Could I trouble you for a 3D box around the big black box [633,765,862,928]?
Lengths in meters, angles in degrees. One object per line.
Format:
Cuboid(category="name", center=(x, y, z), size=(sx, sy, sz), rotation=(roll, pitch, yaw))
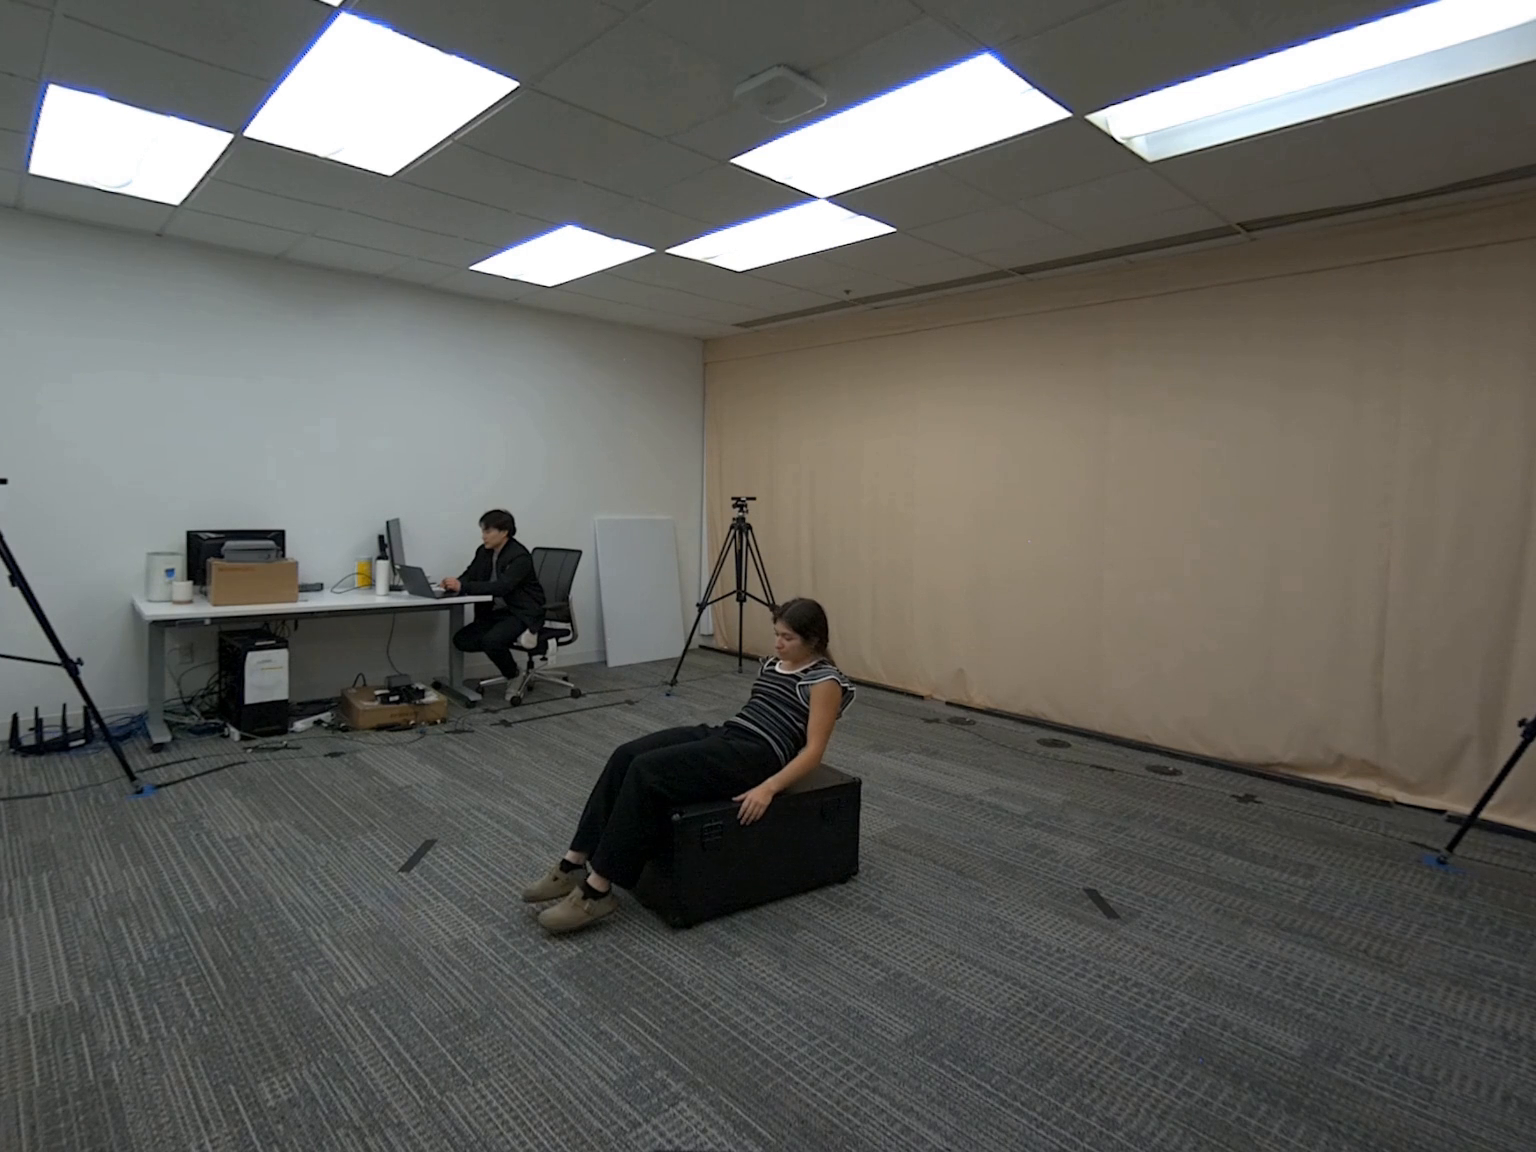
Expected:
Cuboid(category="big black box", center=(-0.091, 0.926, 3.089), size=(0.843, 0.395, 0.534), rotation=(-3, 6, -34))
